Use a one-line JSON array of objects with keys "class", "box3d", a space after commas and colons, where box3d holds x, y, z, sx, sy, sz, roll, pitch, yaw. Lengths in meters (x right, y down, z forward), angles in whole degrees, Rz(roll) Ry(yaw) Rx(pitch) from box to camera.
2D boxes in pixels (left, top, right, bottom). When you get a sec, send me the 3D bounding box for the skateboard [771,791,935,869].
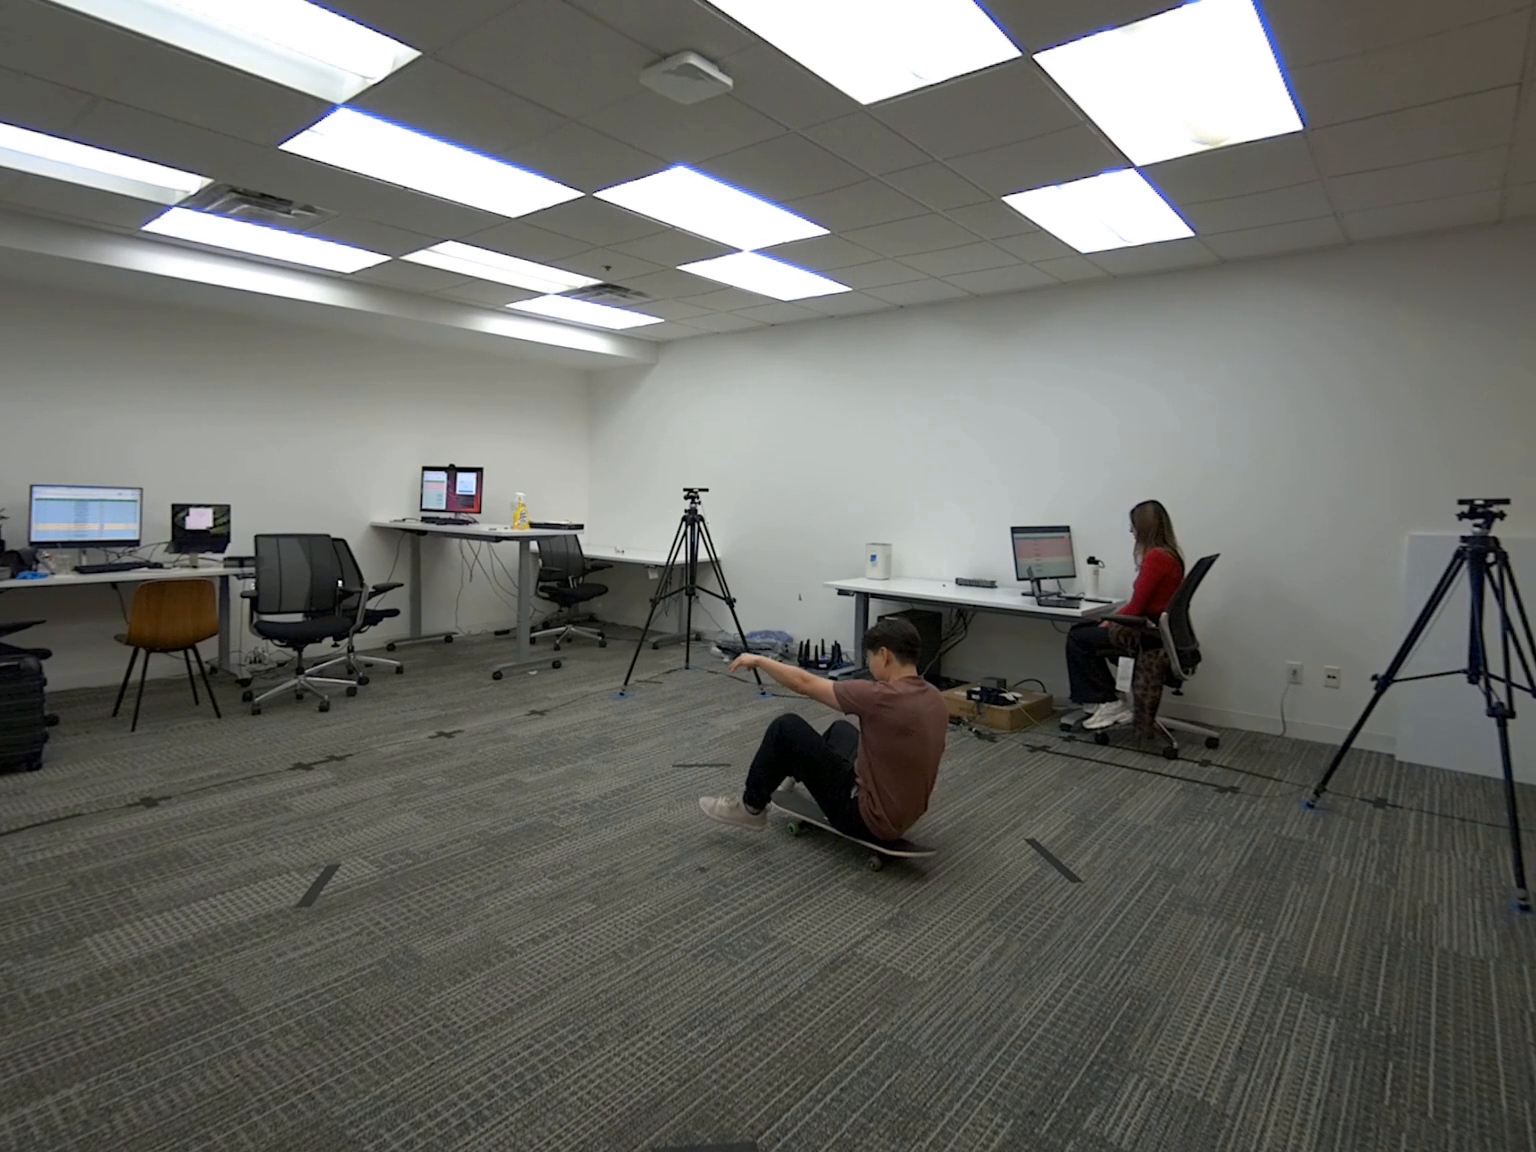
[{"class": "skateboard", "box3d": [0.293, 1.011, 3.354, 0.187, 0.110, 0.813, 5, 2, -44]}]
